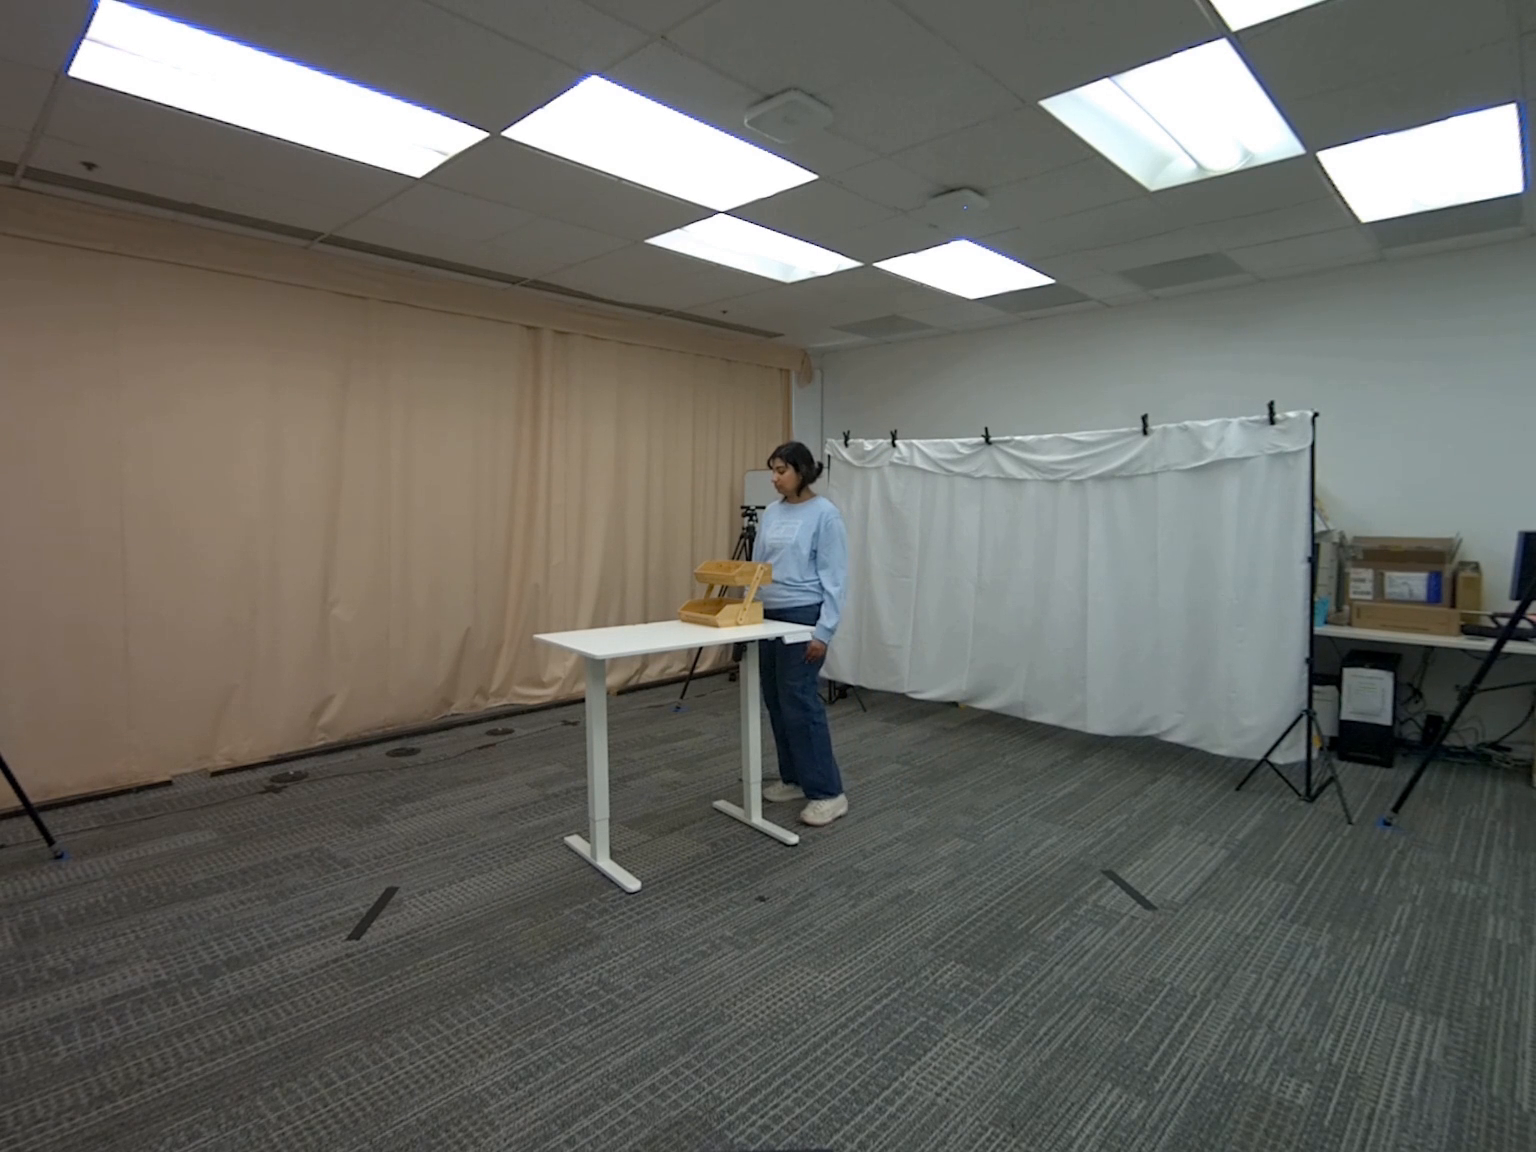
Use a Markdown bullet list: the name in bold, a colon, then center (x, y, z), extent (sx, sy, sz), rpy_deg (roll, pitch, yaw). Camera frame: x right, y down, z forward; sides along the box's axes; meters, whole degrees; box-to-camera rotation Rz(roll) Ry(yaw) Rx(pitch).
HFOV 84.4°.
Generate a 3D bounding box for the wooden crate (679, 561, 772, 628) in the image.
- **wooden crate**: center (-0.191, 0.069, 3.709), extent (0.293, 0.273, 0.335), rpy_deg (-3, 4, -37)
